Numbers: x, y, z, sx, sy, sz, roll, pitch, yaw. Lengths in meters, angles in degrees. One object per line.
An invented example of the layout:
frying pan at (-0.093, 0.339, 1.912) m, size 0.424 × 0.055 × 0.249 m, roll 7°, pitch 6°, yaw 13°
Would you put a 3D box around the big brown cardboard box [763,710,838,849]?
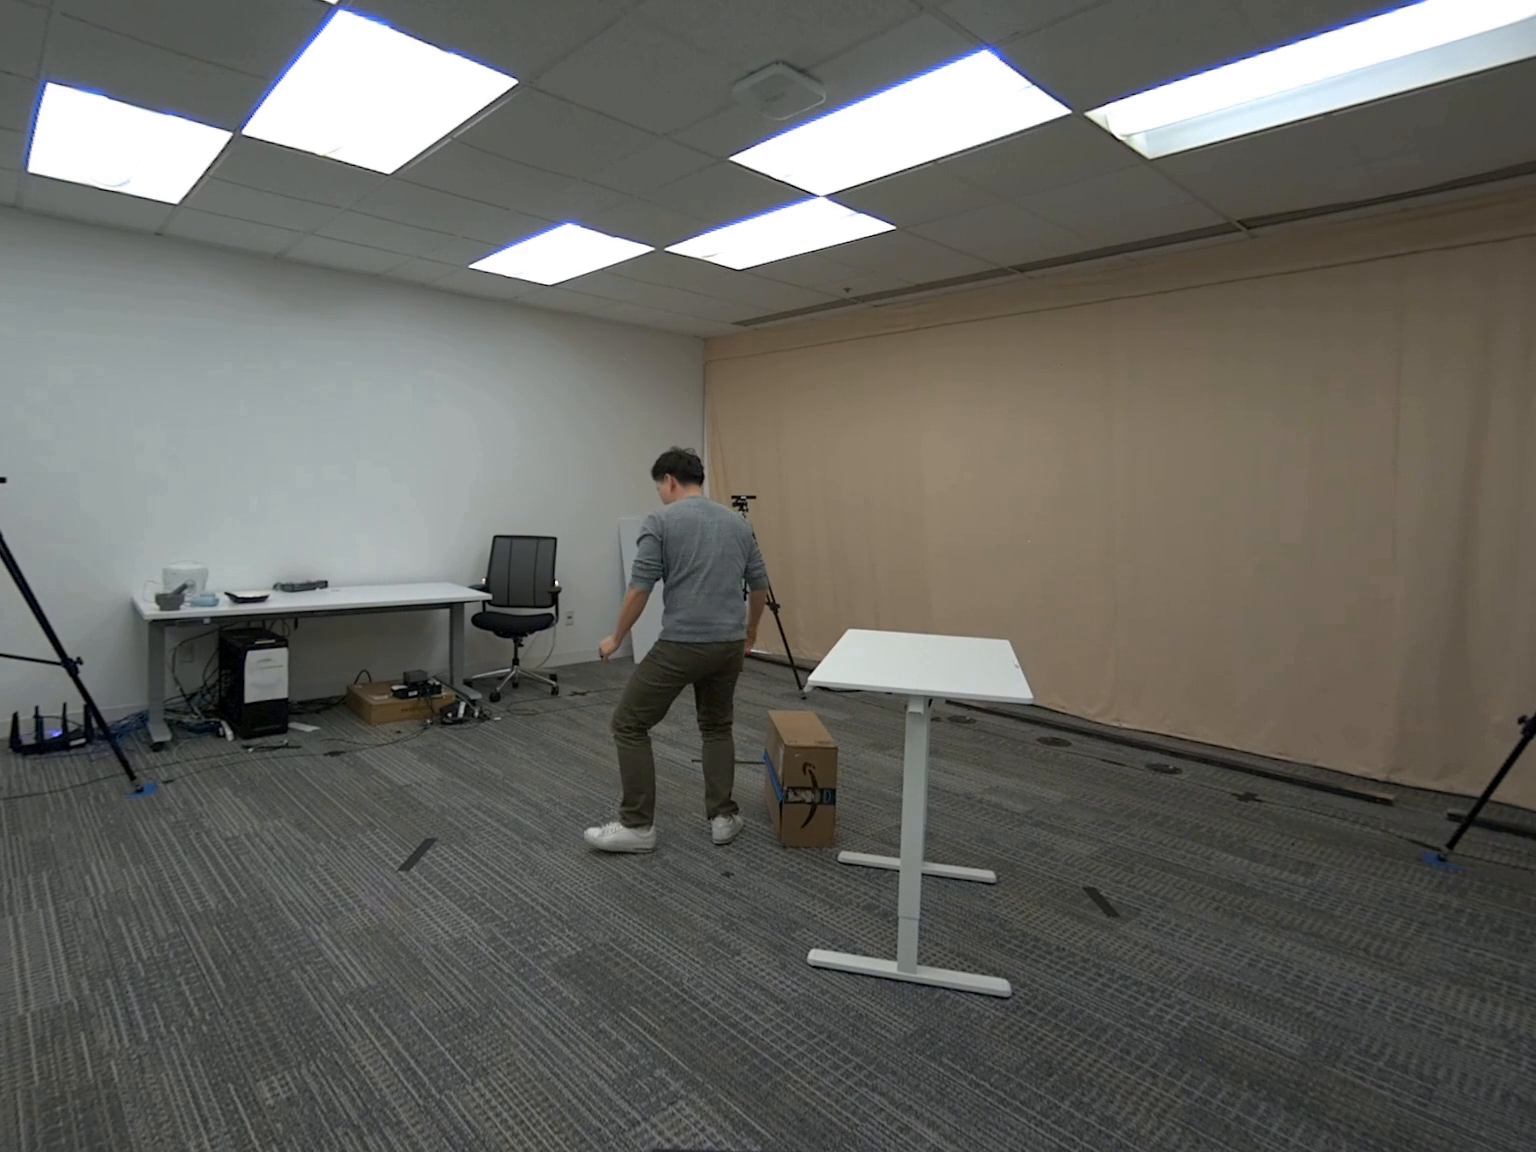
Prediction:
big brown cardboard box at (0.121, 0.853, 3.627) m, size 0.232 × 0.416 × 0.593 m, roll 2°, pitch 4°, yaw -6°
